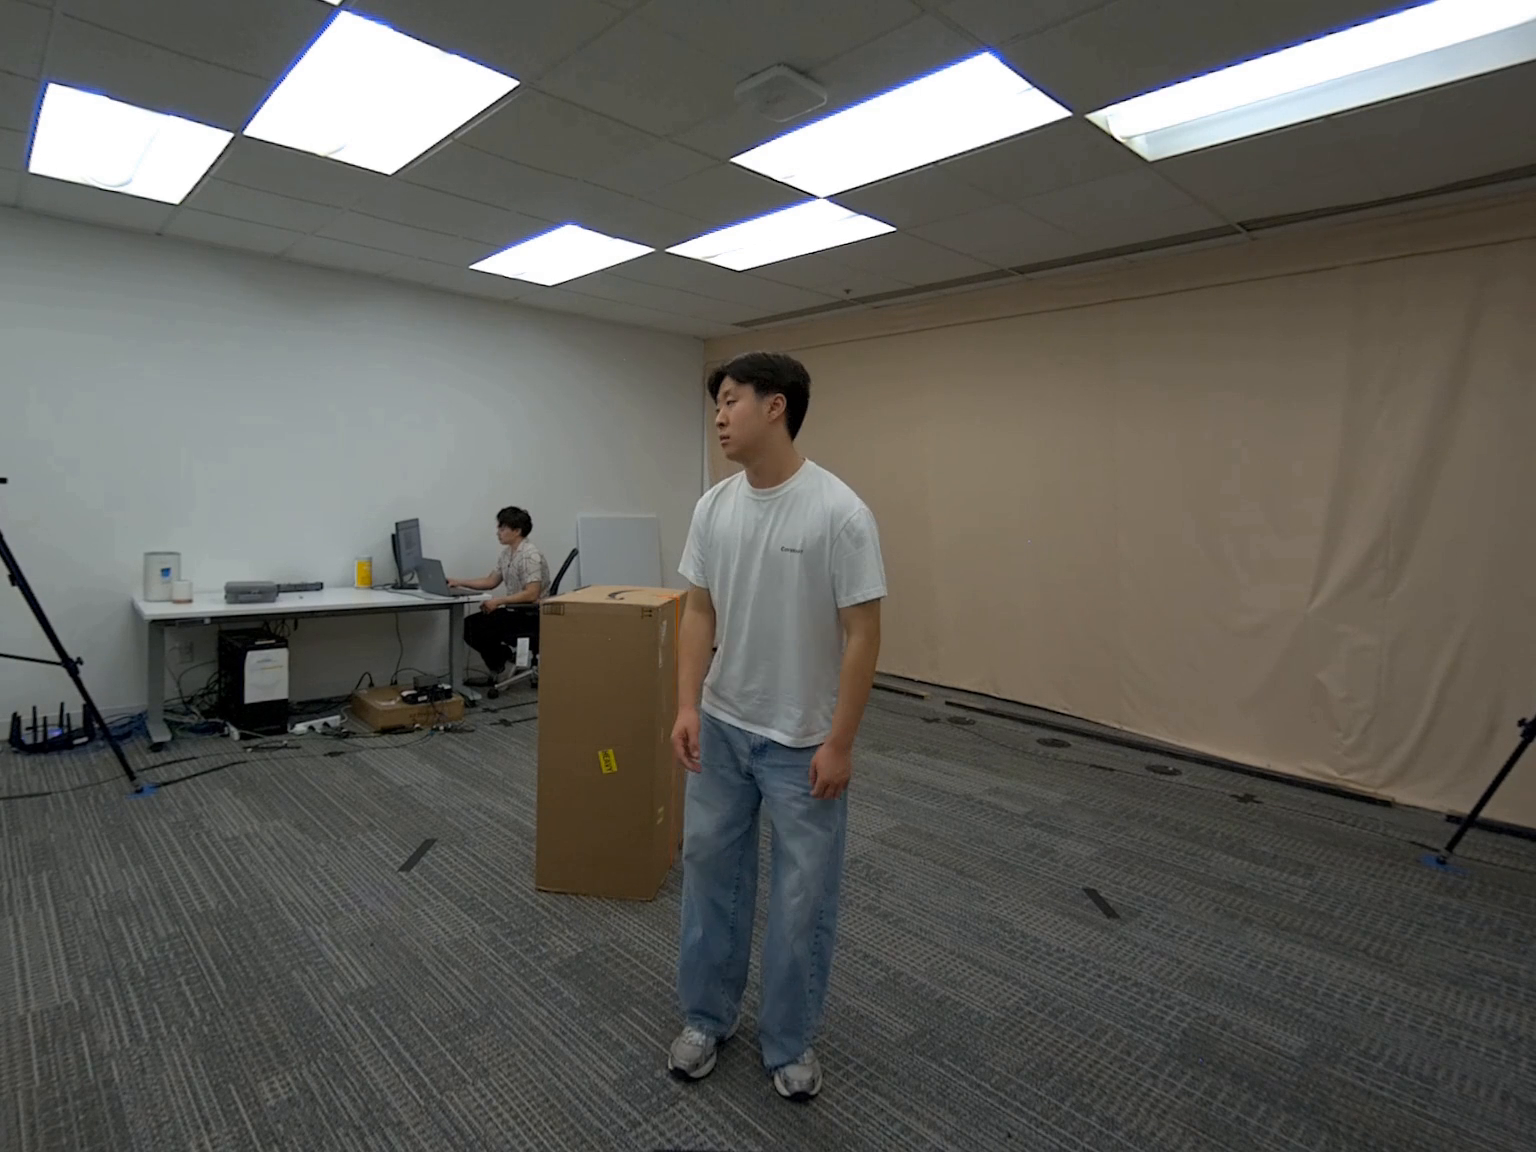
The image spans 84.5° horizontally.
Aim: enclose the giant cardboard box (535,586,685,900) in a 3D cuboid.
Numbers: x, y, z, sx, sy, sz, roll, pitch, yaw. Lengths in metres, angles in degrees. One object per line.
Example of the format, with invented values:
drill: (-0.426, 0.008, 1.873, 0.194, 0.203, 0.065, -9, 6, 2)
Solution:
giant cardboard box: (-0.575, 0.581, 3.178, 0.429, 1.024, 0.575, 2, 3, 7)
